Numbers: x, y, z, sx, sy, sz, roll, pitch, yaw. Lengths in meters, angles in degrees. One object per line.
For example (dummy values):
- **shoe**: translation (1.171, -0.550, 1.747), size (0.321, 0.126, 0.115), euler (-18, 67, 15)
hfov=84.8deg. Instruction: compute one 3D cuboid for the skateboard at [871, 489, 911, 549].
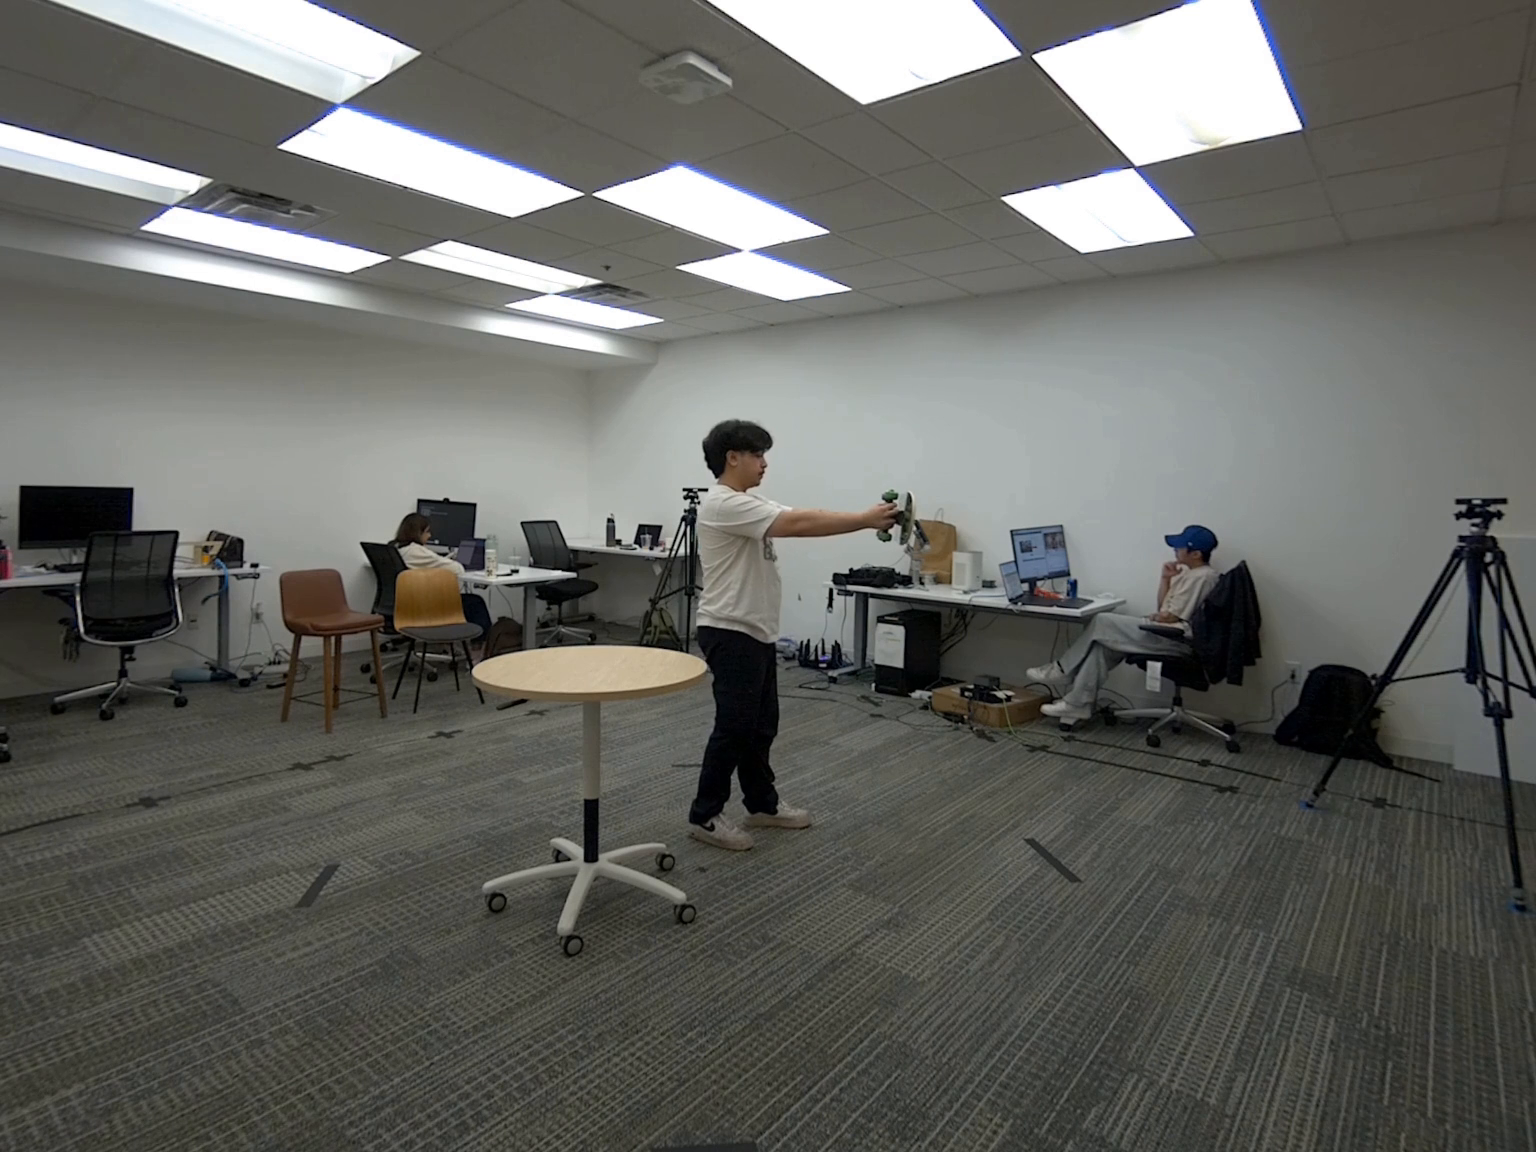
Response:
- **skateboard**: translation (0.479, -0.228, 3.286), size (0.111, 0.193, 0.779), euler (7, 5, 8)
